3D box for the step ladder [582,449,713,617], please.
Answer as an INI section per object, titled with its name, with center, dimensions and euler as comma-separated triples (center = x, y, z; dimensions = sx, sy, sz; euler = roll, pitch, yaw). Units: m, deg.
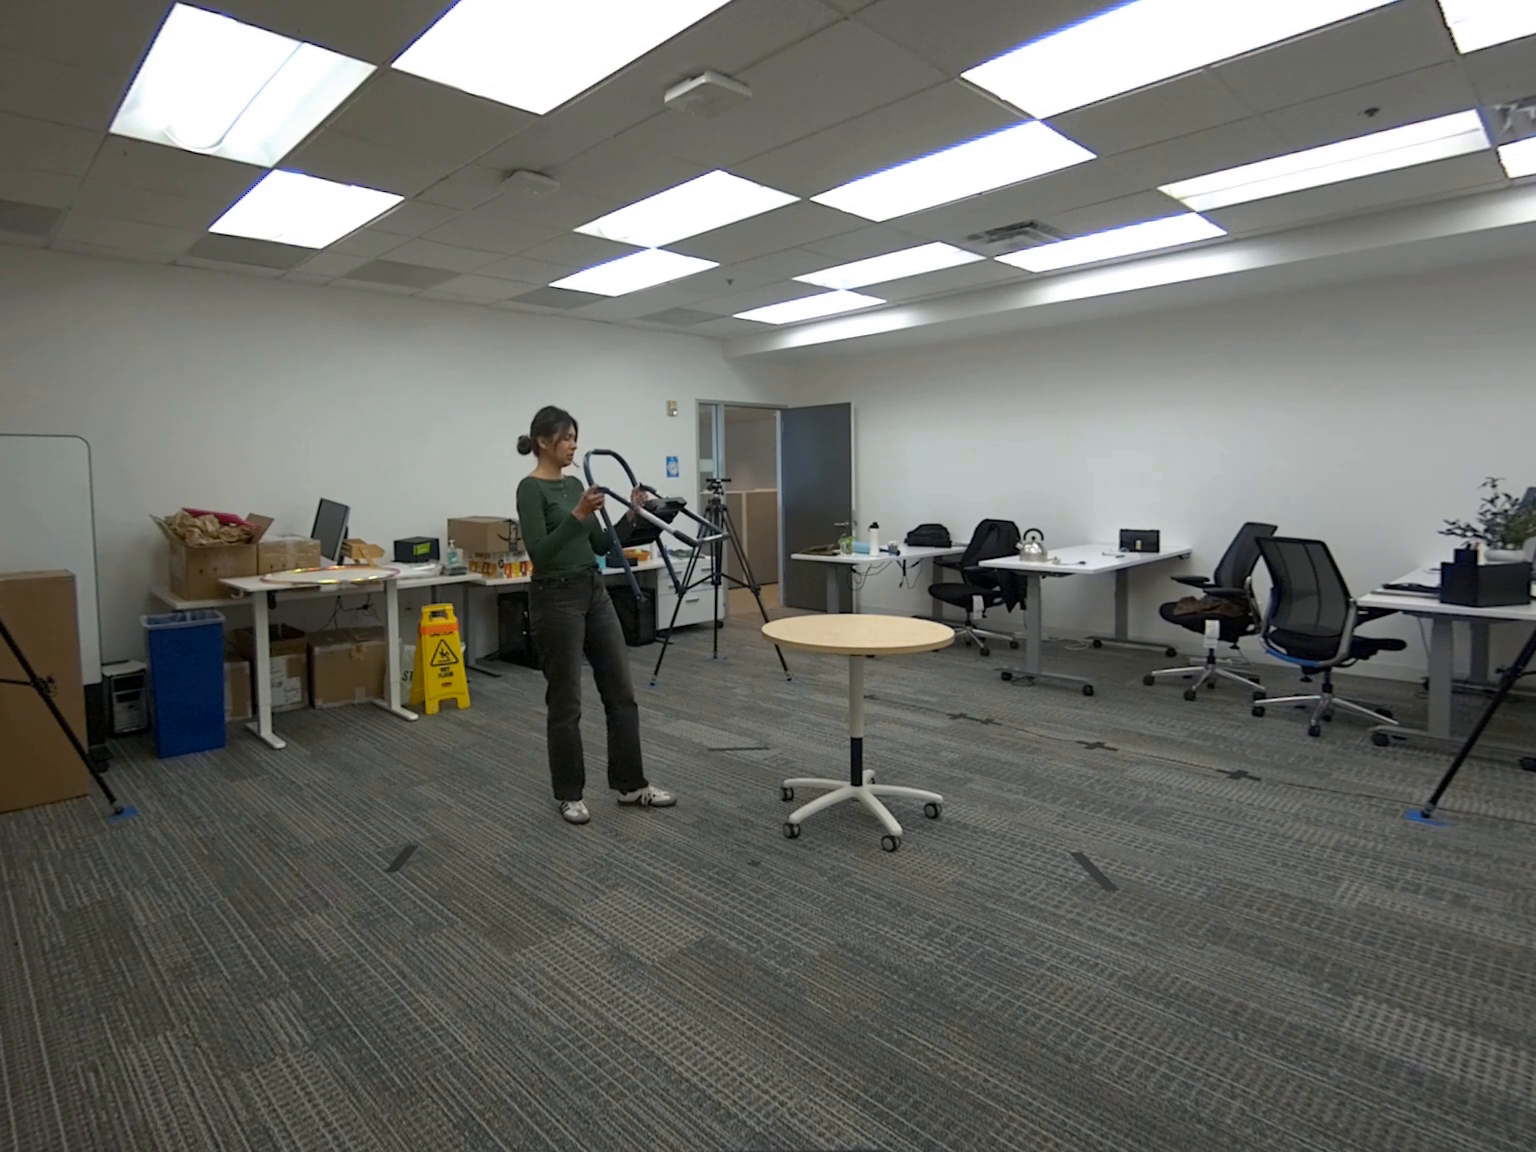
[step ladder]
center = -0.526, -0.241, 3.441
dimensions = 0.349, 0.614, 0.425
euler = -46, -8, 15
